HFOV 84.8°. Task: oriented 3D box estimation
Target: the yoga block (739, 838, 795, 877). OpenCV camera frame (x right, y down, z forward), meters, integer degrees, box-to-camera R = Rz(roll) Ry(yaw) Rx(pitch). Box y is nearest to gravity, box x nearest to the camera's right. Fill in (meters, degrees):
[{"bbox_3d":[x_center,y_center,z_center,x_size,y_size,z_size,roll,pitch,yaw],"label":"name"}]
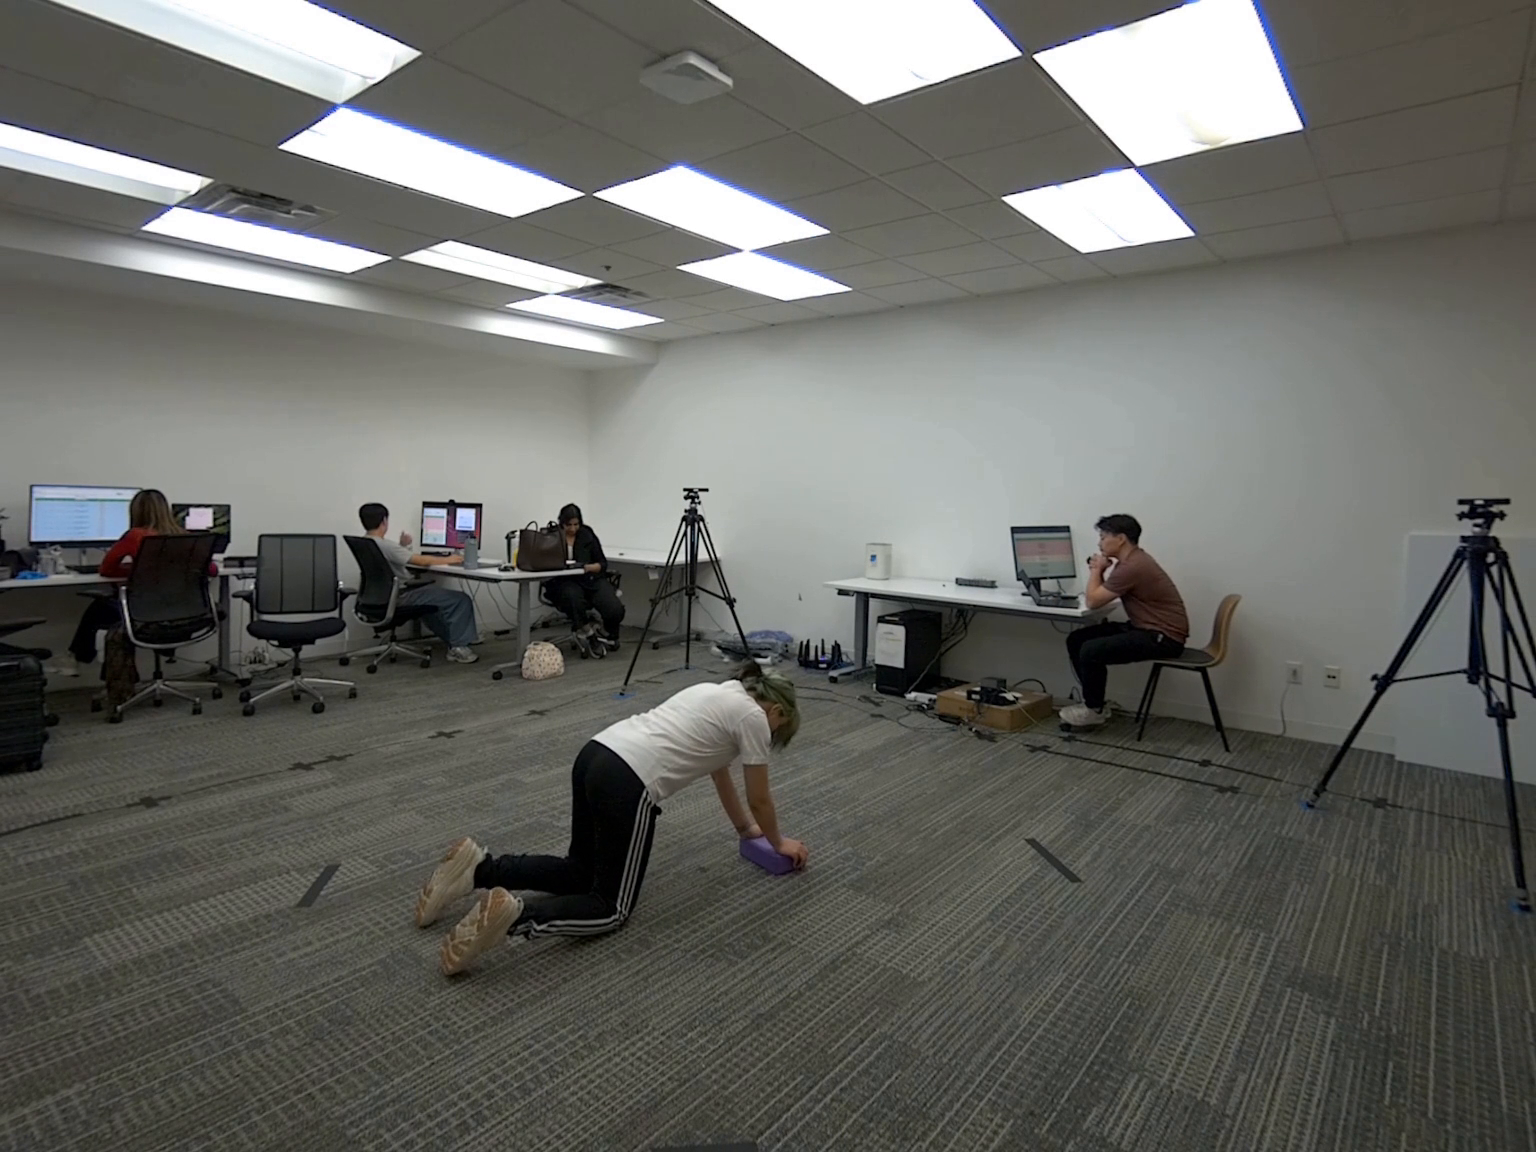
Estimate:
[{"bbox_3d":[0.006,1.027,3.195,0.144,0.076,0.237,-2,5,-39],"label":"yoga block"}]
